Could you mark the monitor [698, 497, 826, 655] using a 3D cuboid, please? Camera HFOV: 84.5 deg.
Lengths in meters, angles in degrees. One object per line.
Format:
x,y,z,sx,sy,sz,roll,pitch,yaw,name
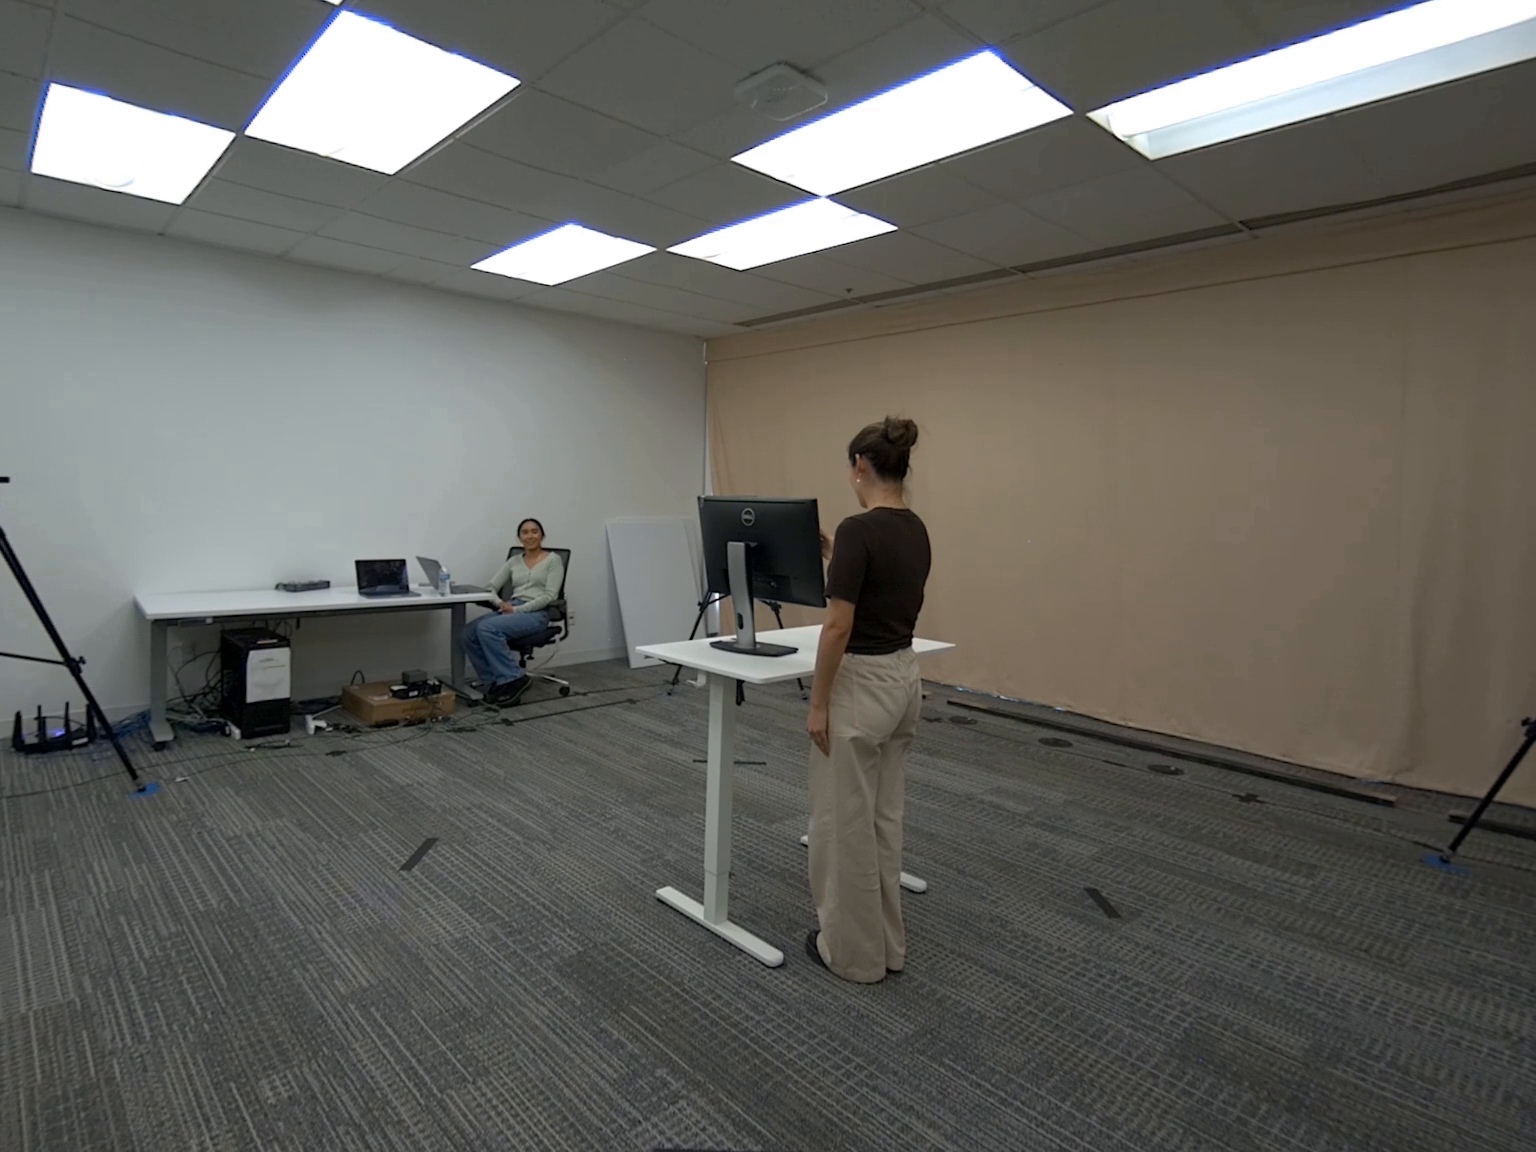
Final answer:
-0.055,-0.002,2.798,0.553,0.522,0.183,5,4,44,monitor
